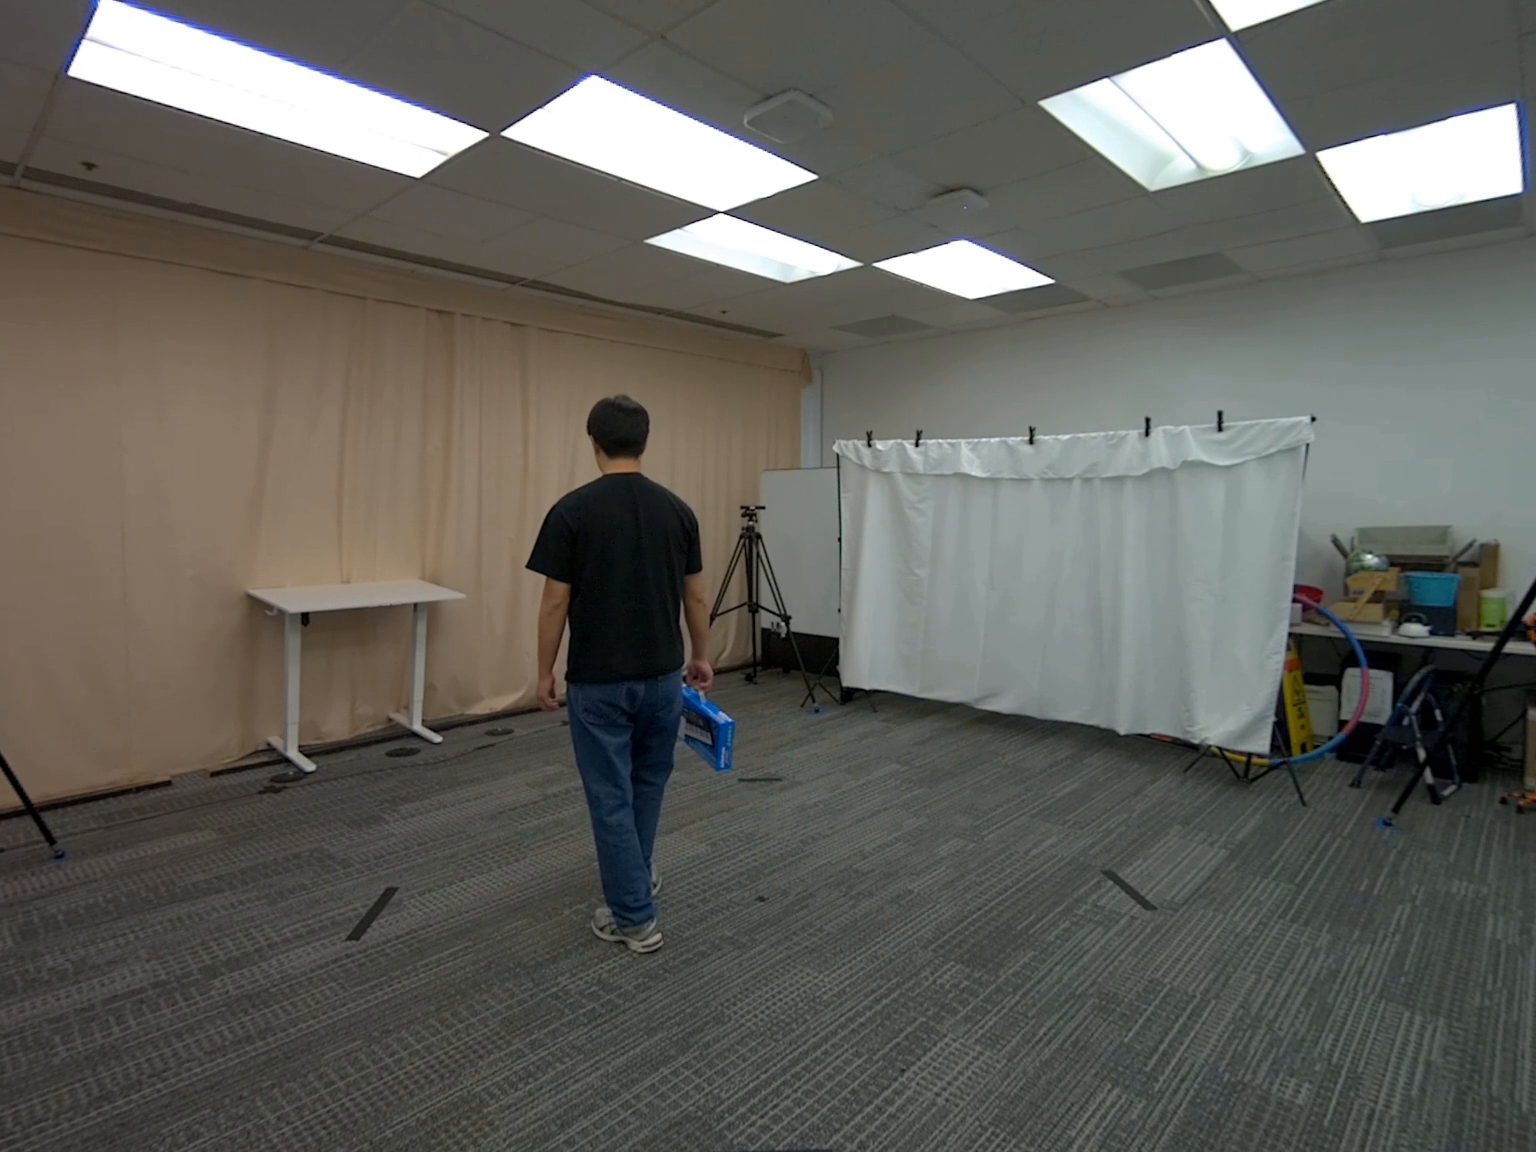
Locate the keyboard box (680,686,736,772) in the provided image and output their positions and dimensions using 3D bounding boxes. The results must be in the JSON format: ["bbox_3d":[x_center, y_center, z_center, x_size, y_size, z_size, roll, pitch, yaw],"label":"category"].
[{"bbox_3d":[-0.253,0.516,2.980,0.057,0.175,0.452,-2,14,-32],"label":"keyboard box"}]
